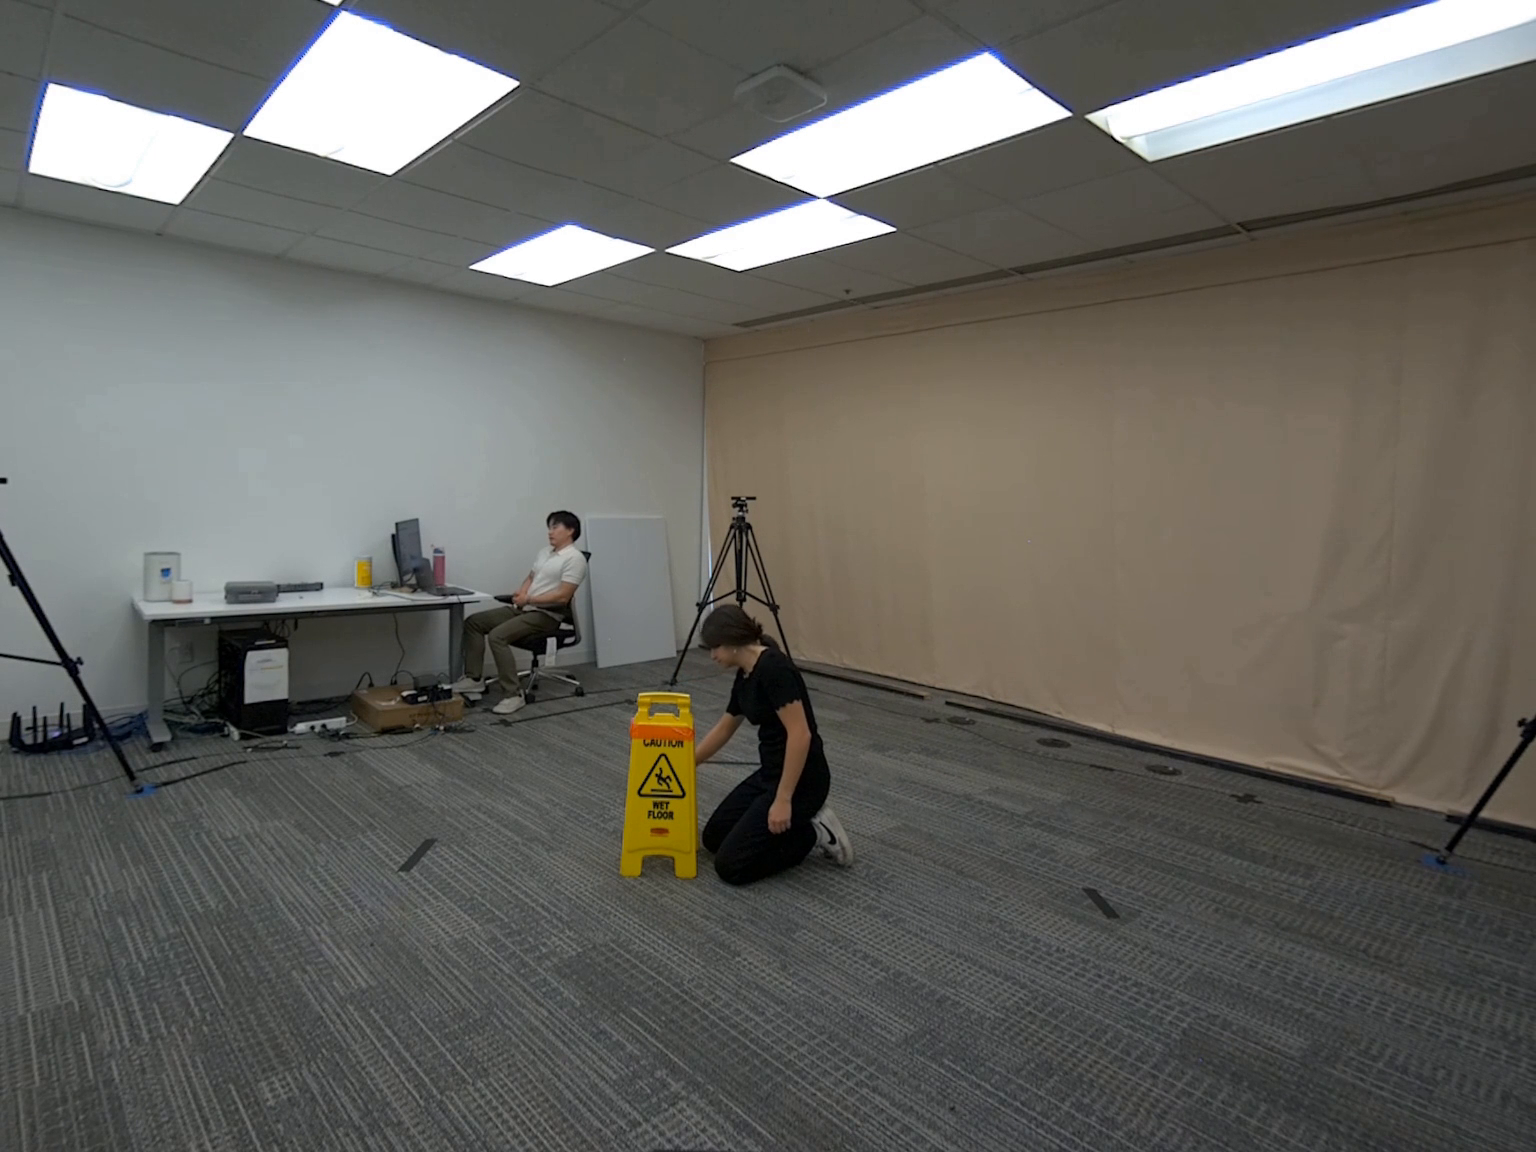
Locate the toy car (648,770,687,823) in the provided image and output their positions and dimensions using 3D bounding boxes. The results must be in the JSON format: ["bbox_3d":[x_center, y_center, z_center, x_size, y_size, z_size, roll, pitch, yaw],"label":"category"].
[{"bbox_3d":[-0.399,0.875,3.362,0.130,0.249,0.085,4,48,2],"label":"toy car"}]
